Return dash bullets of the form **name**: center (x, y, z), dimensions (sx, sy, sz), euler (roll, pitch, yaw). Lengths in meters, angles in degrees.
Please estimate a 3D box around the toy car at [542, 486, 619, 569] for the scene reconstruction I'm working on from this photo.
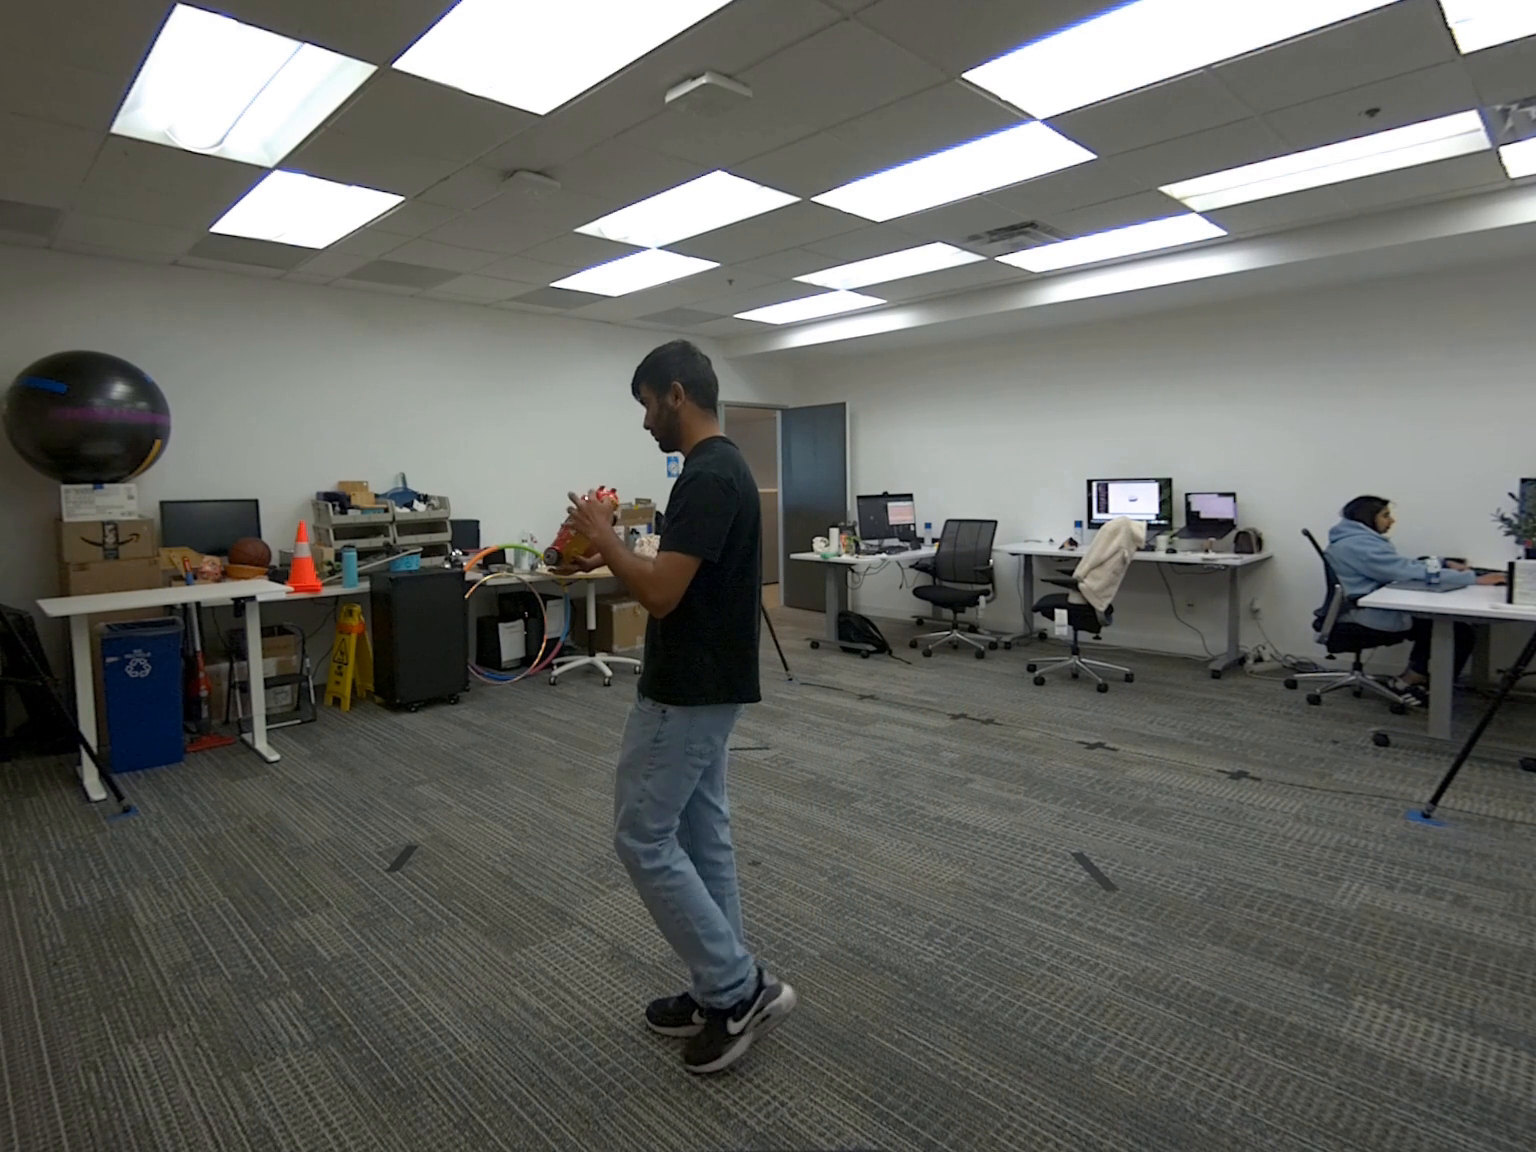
- **toy car**: center (-0.462, -0.120, 2.161), dimensions (0.085, 0.254, 0.127), euler (34, 9, 22)
